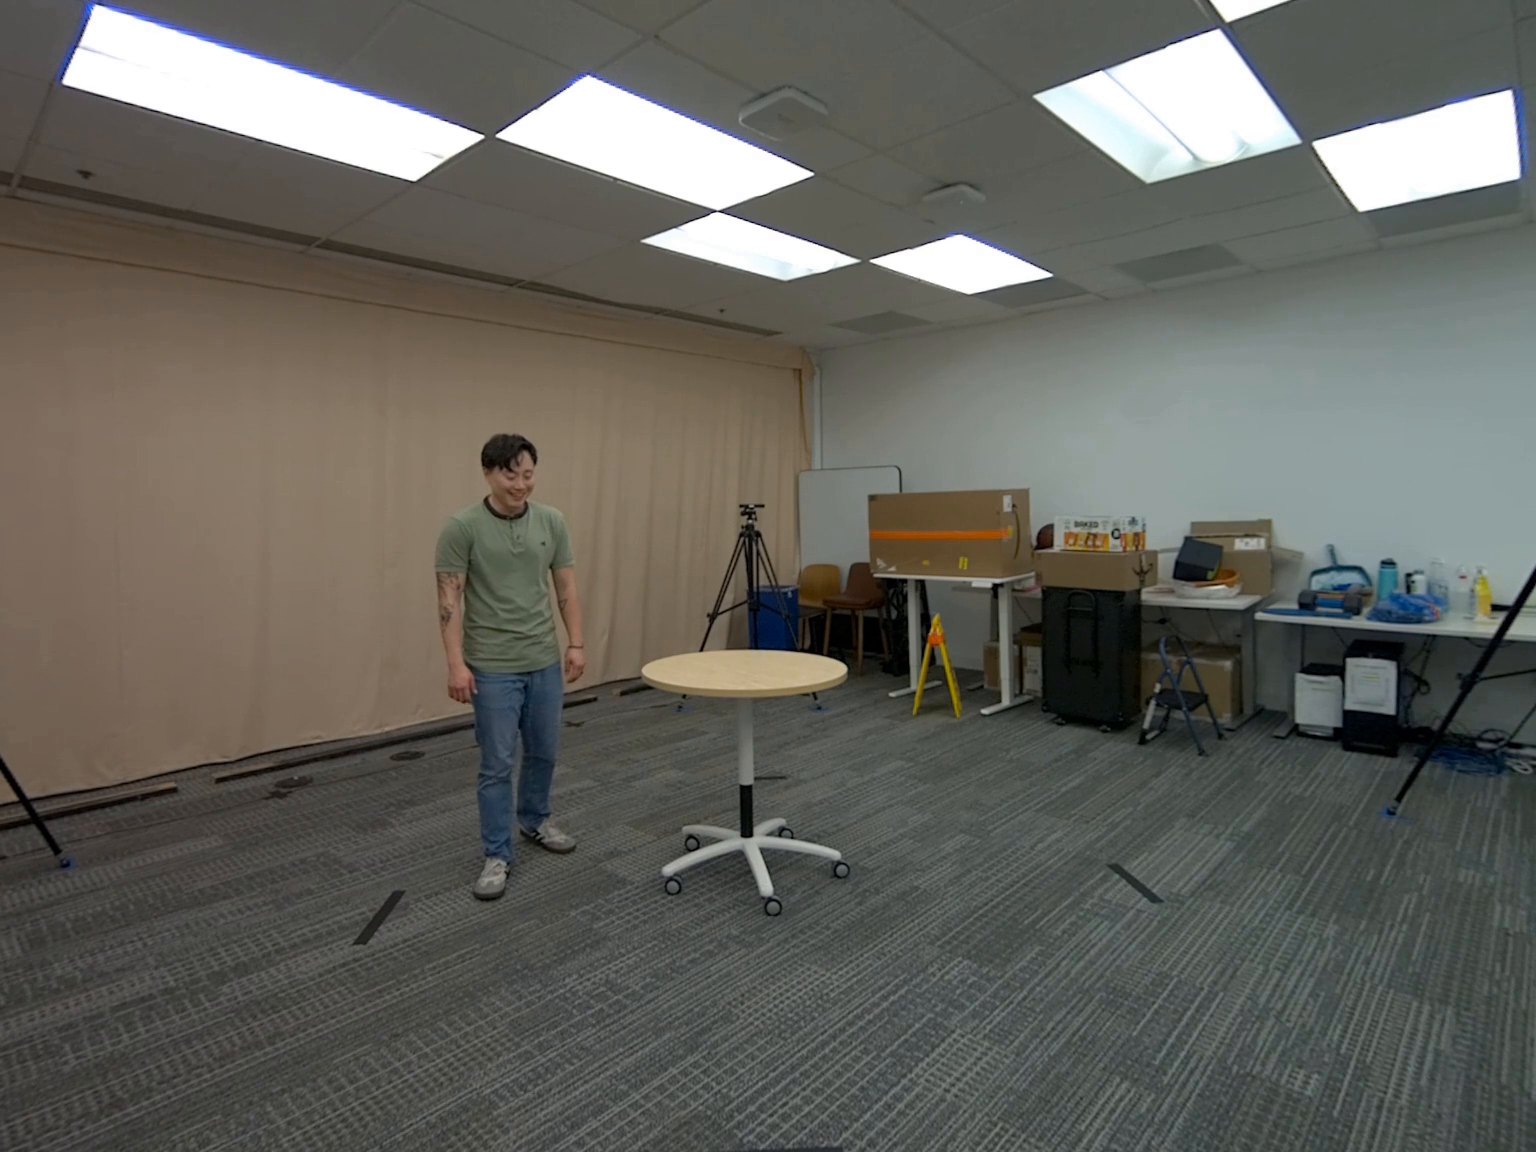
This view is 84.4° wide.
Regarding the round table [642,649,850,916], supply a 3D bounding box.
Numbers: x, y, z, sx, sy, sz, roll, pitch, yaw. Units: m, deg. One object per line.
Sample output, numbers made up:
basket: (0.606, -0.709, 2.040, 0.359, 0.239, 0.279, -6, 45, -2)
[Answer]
round table: (-0.077, 0.736, 3.167, 0.763, 0.792, 0.767, -1, 4, -2)
